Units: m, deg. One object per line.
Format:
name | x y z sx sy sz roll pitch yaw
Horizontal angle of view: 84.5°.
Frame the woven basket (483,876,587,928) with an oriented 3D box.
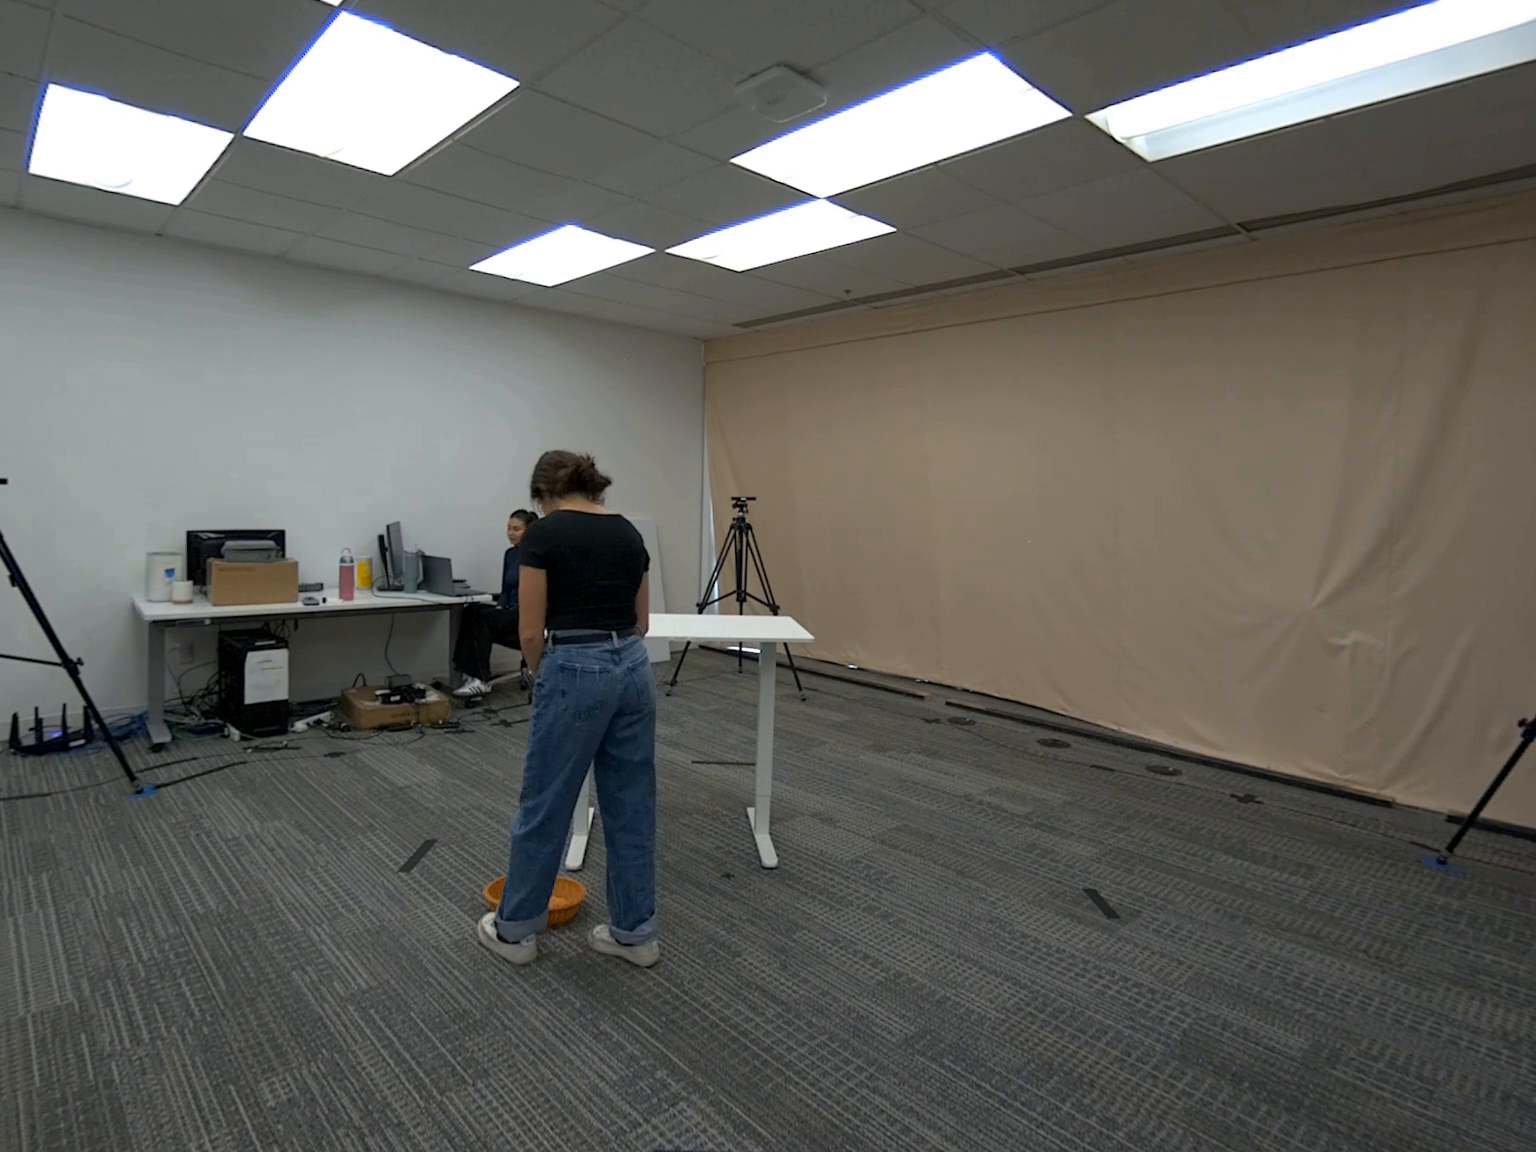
woven basket | -0.779 1.081 2.810 0.355 0.073 0.250 2 4 15
